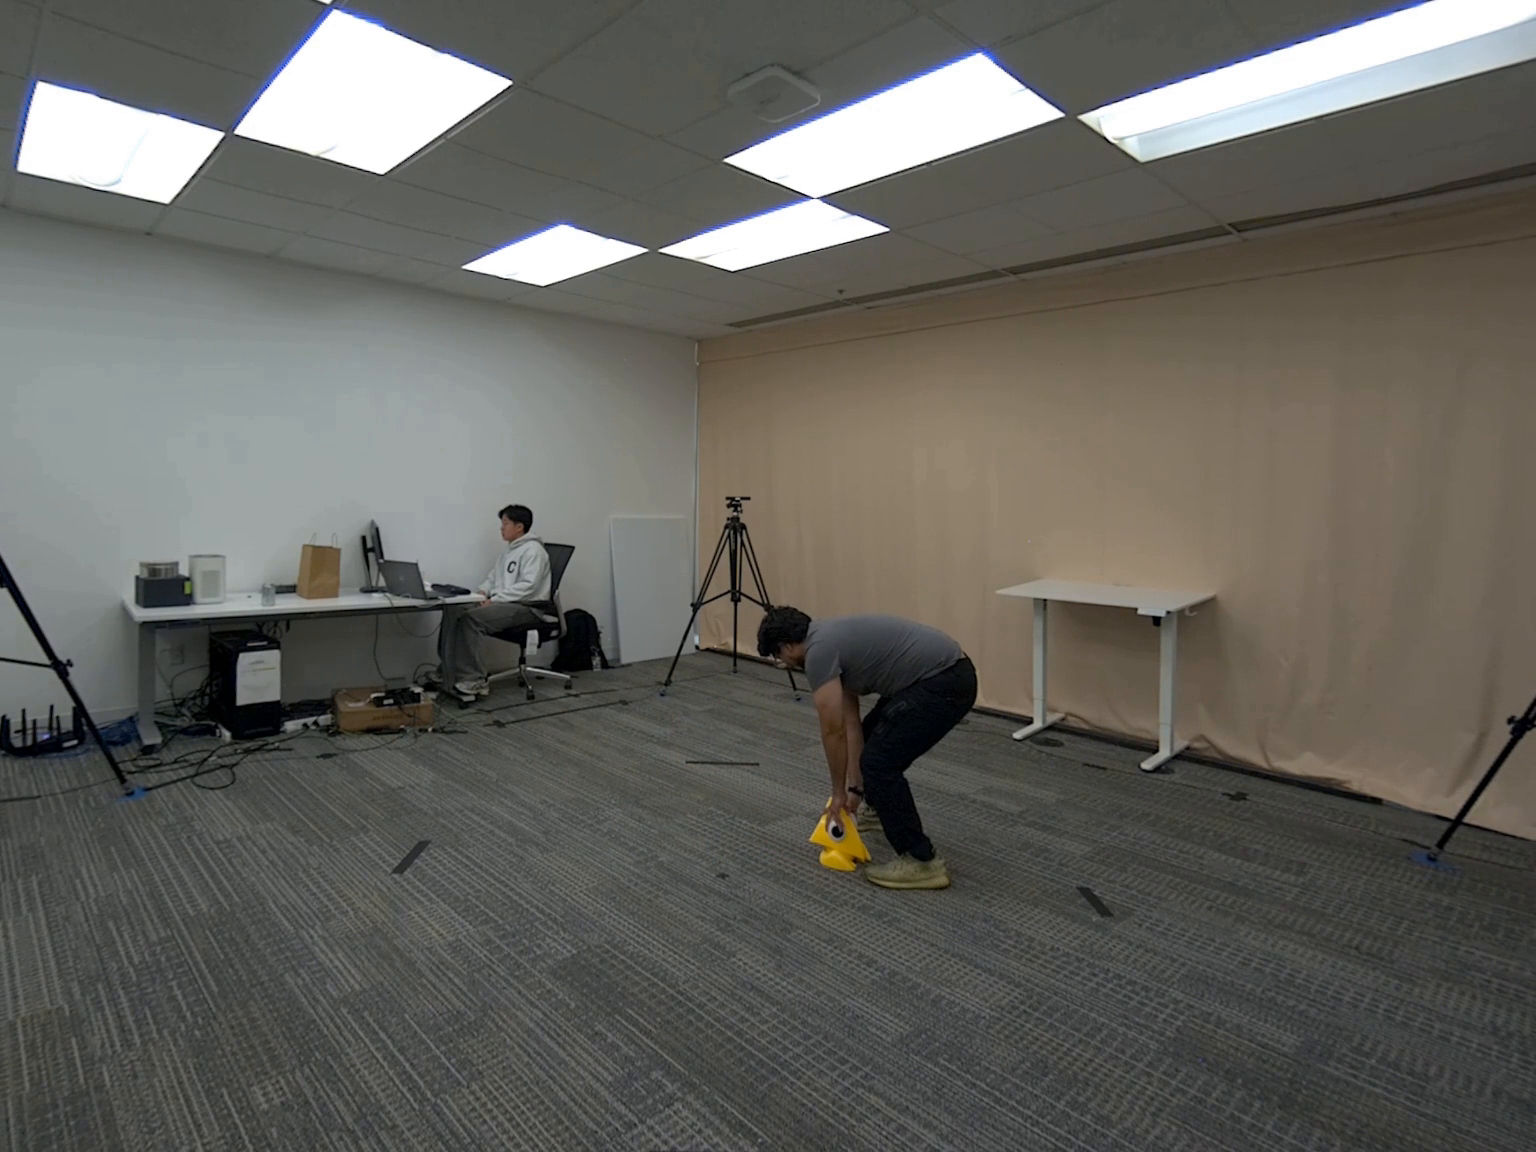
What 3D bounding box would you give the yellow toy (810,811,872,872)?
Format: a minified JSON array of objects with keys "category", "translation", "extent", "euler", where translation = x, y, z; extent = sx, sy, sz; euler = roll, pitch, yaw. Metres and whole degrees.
[{"category":"yellow toy","translation":[0.283,0.991,3.276],"extent":[0.198,0.230,0.200],"euler":[5,5,39]}]
